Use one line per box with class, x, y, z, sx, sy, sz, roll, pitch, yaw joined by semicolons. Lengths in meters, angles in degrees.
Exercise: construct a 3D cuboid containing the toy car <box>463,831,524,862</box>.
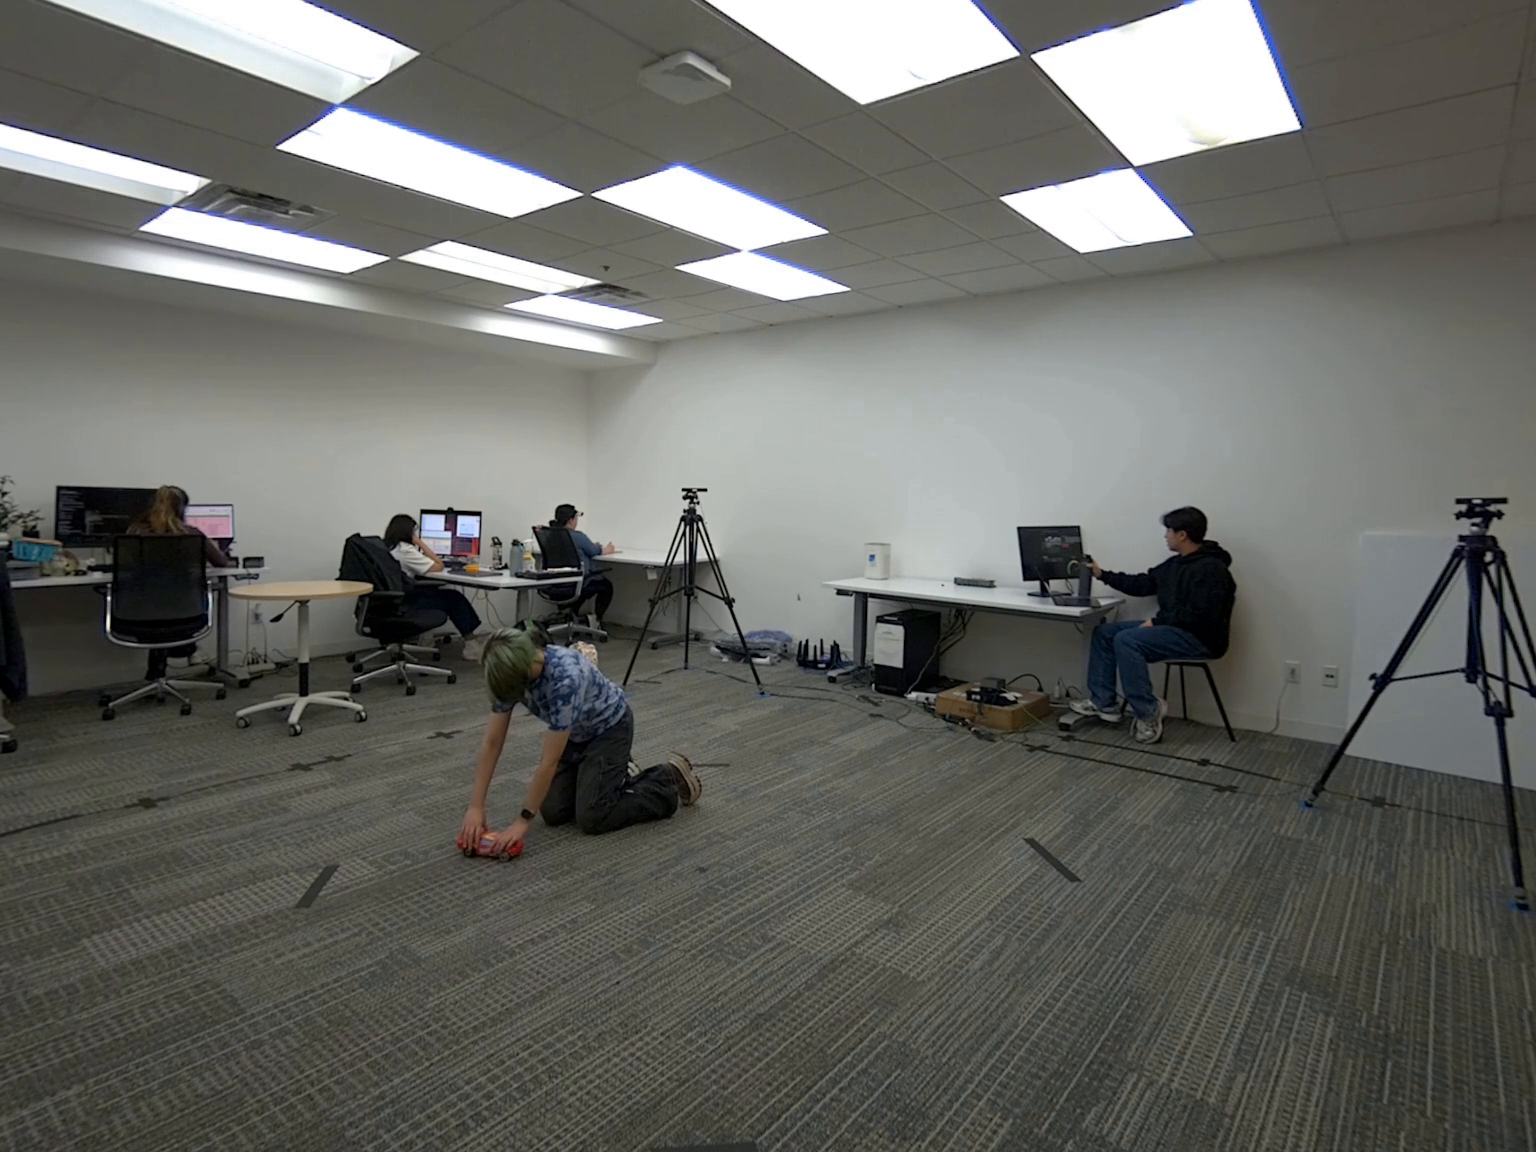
toy car;-1.074;1.021;3.217;0.258;0.083;0.129;14;8;12
